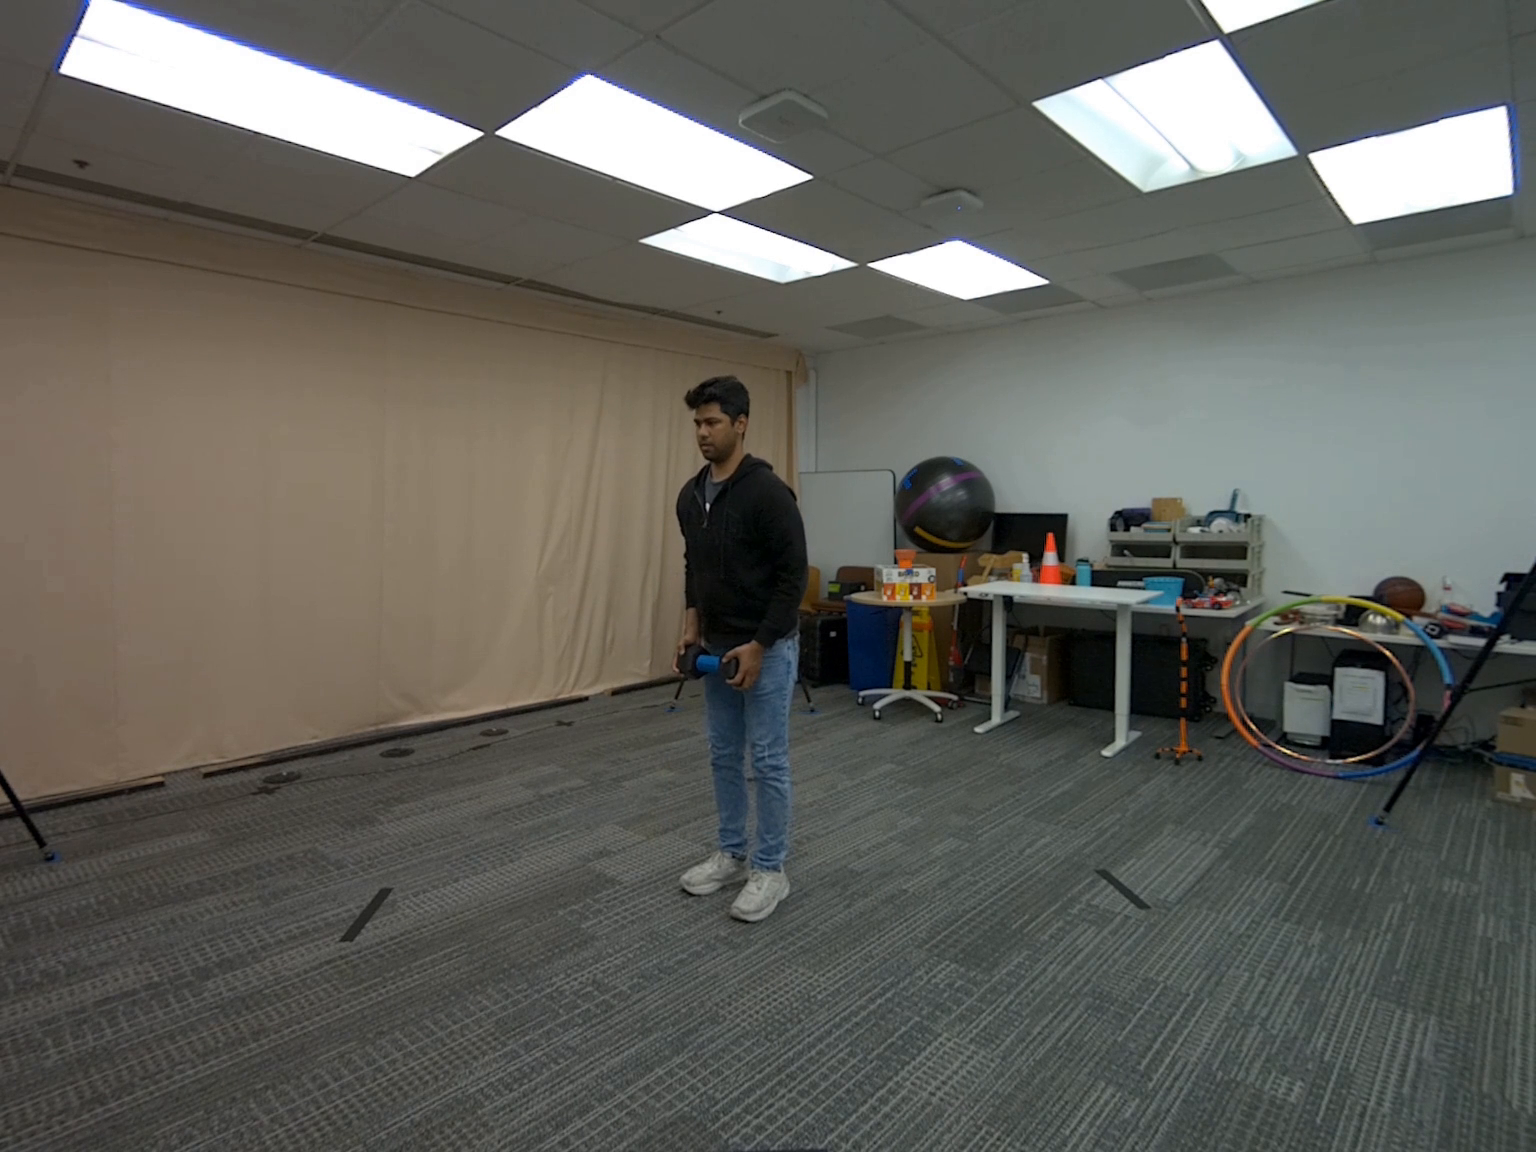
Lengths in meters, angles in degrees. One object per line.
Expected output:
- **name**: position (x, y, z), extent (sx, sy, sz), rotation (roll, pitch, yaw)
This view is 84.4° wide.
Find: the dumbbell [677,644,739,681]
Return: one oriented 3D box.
- **dumbbell**: position (-0.177, 0.315, 2.909), extent (0.303, 0.109, 0.119), rotation (0, -36, 45)
